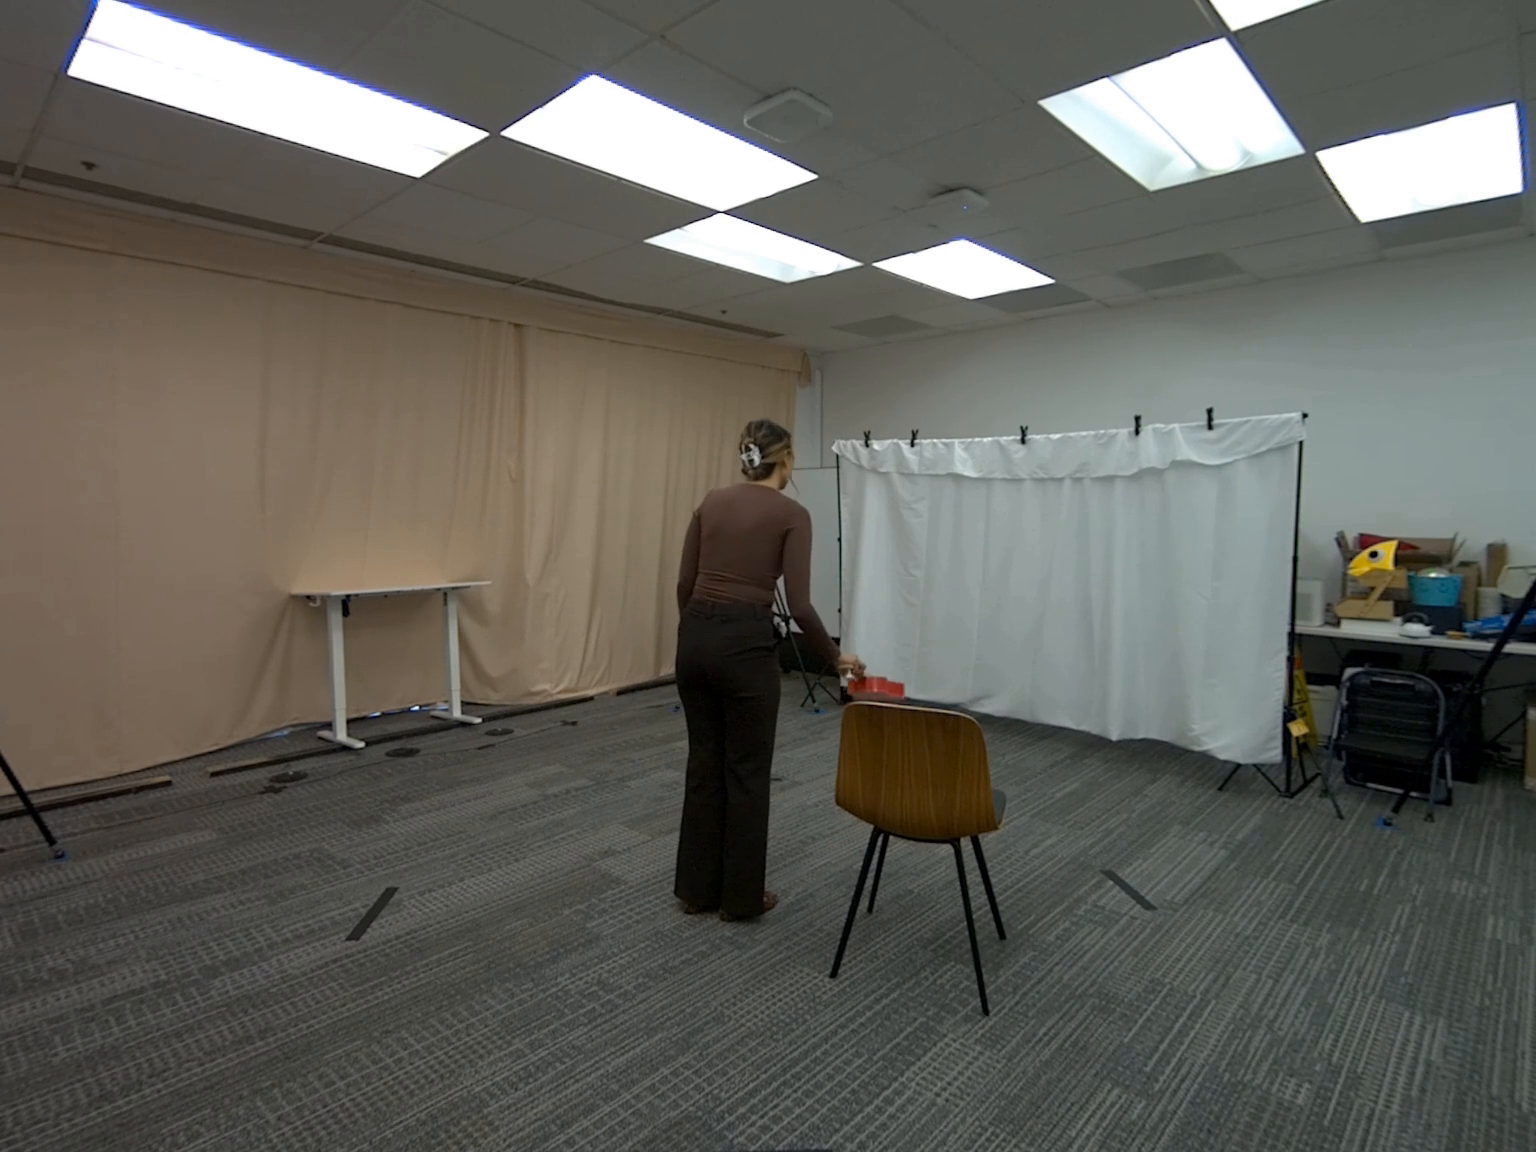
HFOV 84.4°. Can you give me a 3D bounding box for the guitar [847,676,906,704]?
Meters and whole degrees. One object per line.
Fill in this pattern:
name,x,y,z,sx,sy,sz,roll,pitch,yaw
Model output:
guitar,0.325,0.392,3.059,0.198,0.071,0.480,-7,-19,31
